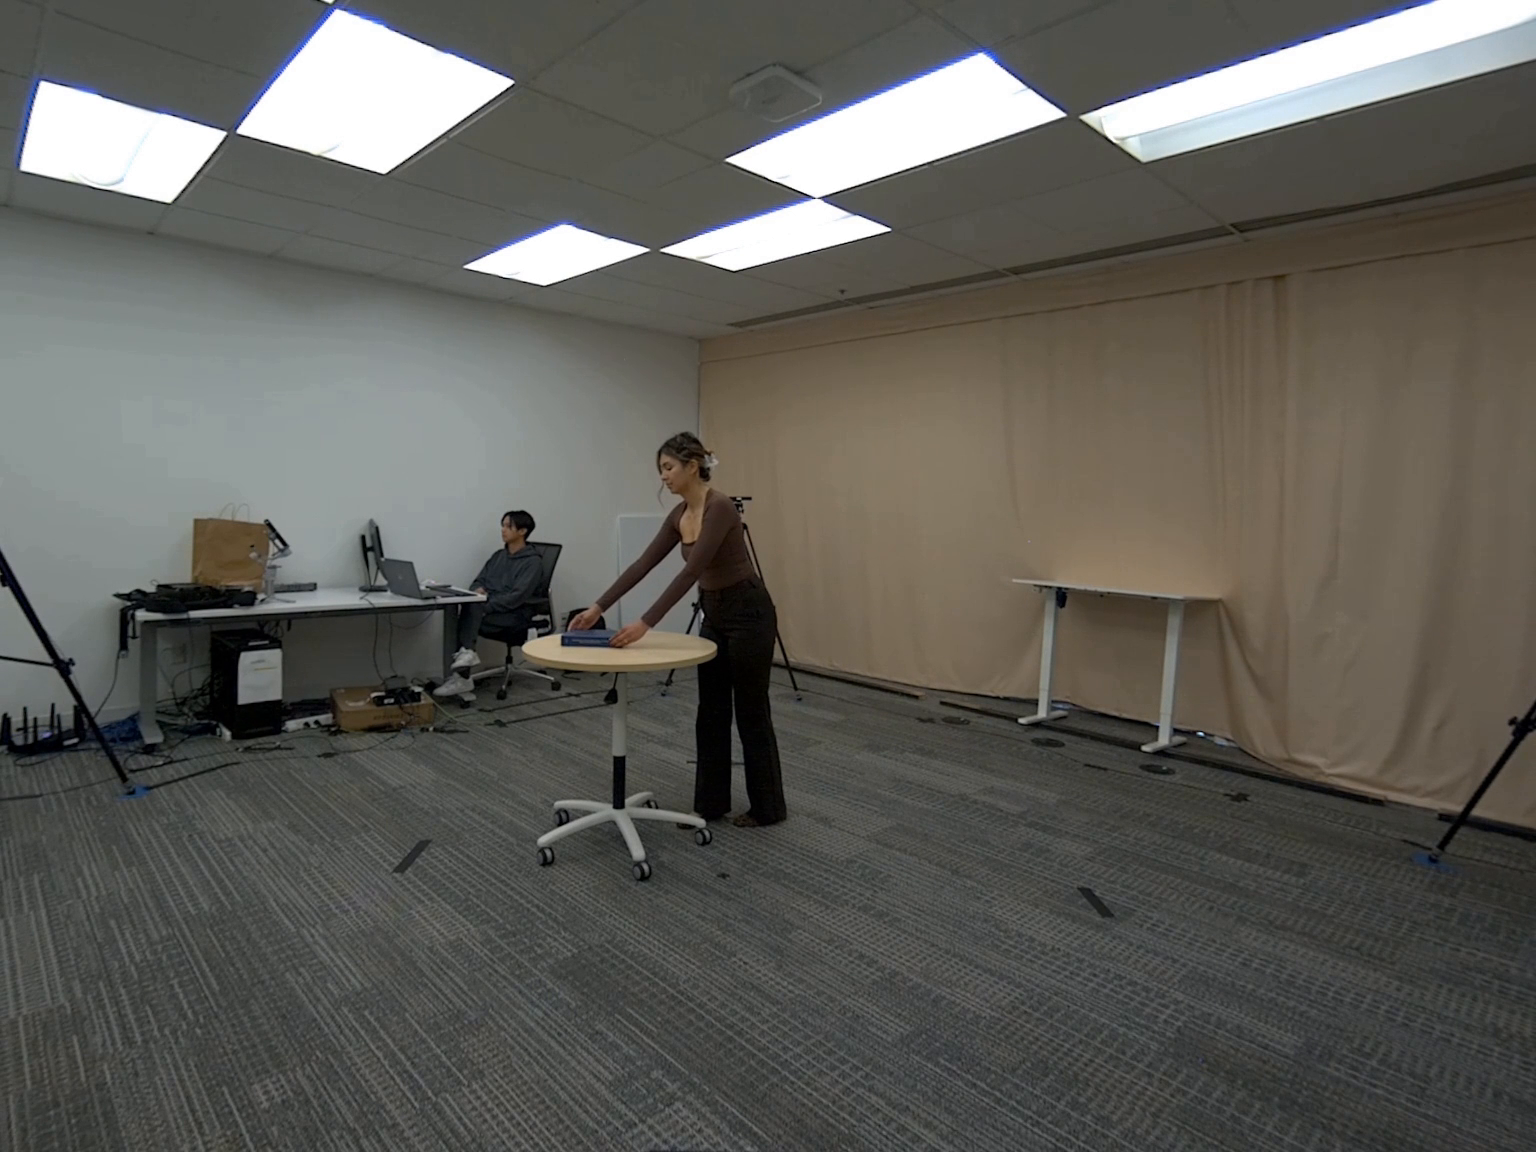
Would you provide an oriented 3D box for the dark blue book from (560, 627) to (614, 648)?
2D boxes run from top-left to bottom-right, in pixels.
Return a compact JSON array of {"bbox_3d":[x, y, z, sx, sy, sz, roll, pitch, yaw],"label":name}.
[{"bbox_3d":[-0.719,0.259,3.369,0.245,0.045,0.164,1,6,1],"label":"dark blue book"}]
